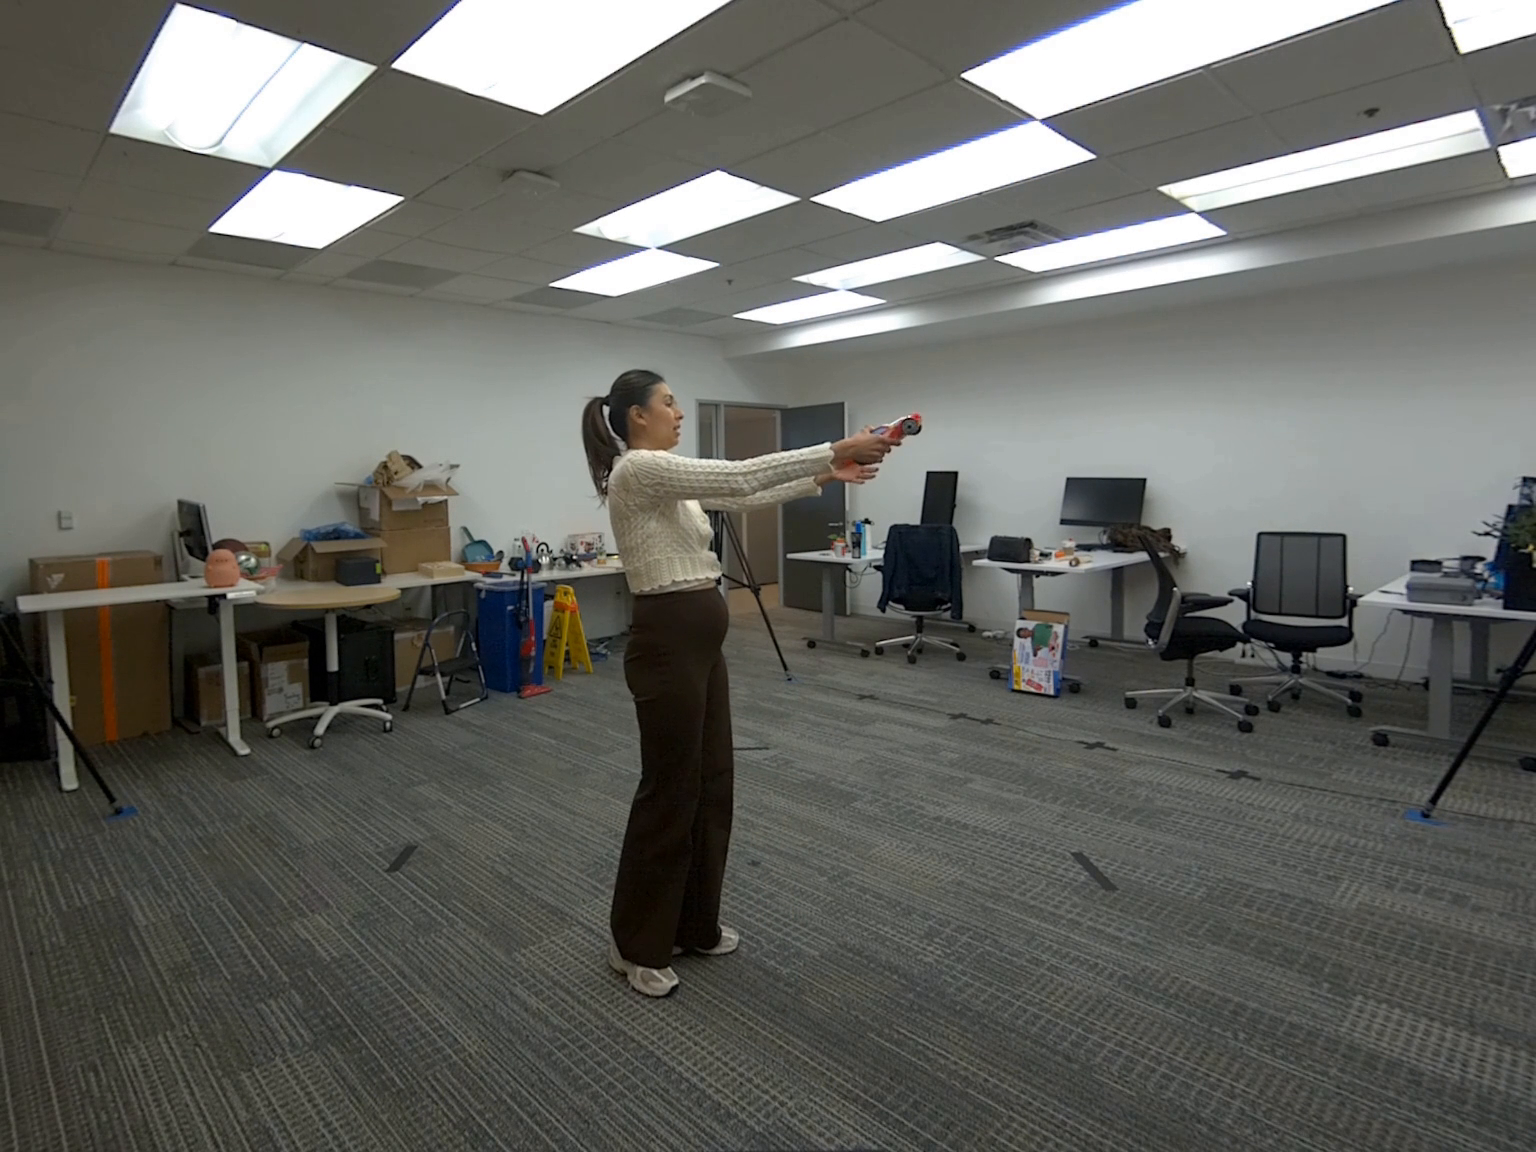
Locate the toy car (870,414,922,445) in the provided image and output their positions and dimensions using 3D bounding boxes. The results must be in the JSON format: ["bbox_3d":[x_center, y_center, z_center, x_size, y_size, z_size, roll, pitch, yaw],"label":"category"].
[{"bbox_3d":[0.300,-0.361,2.326,0.257,0.083,0.128,-20,-1,21],"label":"toy car"}]
